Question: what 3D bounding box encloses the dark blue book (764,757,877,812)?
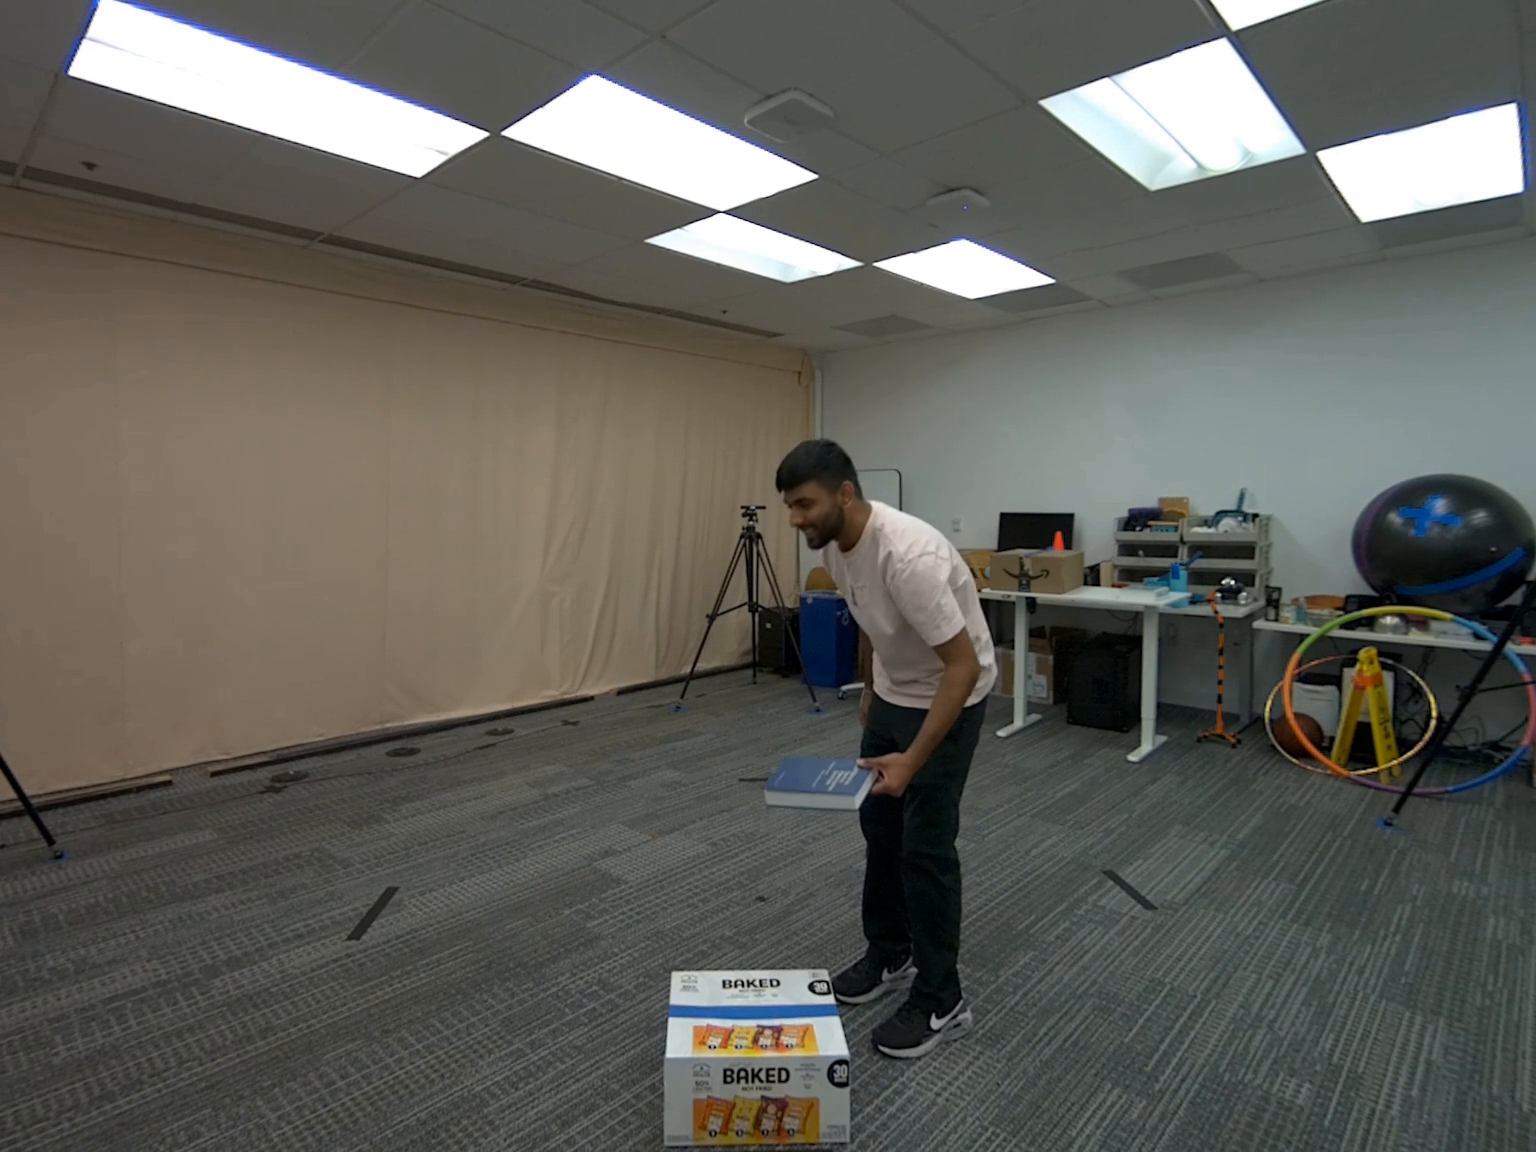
[{"bbox_3d":[0.140,0.513,2.023,0.251,0.045,0.161,-5,16,30],"label":"dark blue book"}]
